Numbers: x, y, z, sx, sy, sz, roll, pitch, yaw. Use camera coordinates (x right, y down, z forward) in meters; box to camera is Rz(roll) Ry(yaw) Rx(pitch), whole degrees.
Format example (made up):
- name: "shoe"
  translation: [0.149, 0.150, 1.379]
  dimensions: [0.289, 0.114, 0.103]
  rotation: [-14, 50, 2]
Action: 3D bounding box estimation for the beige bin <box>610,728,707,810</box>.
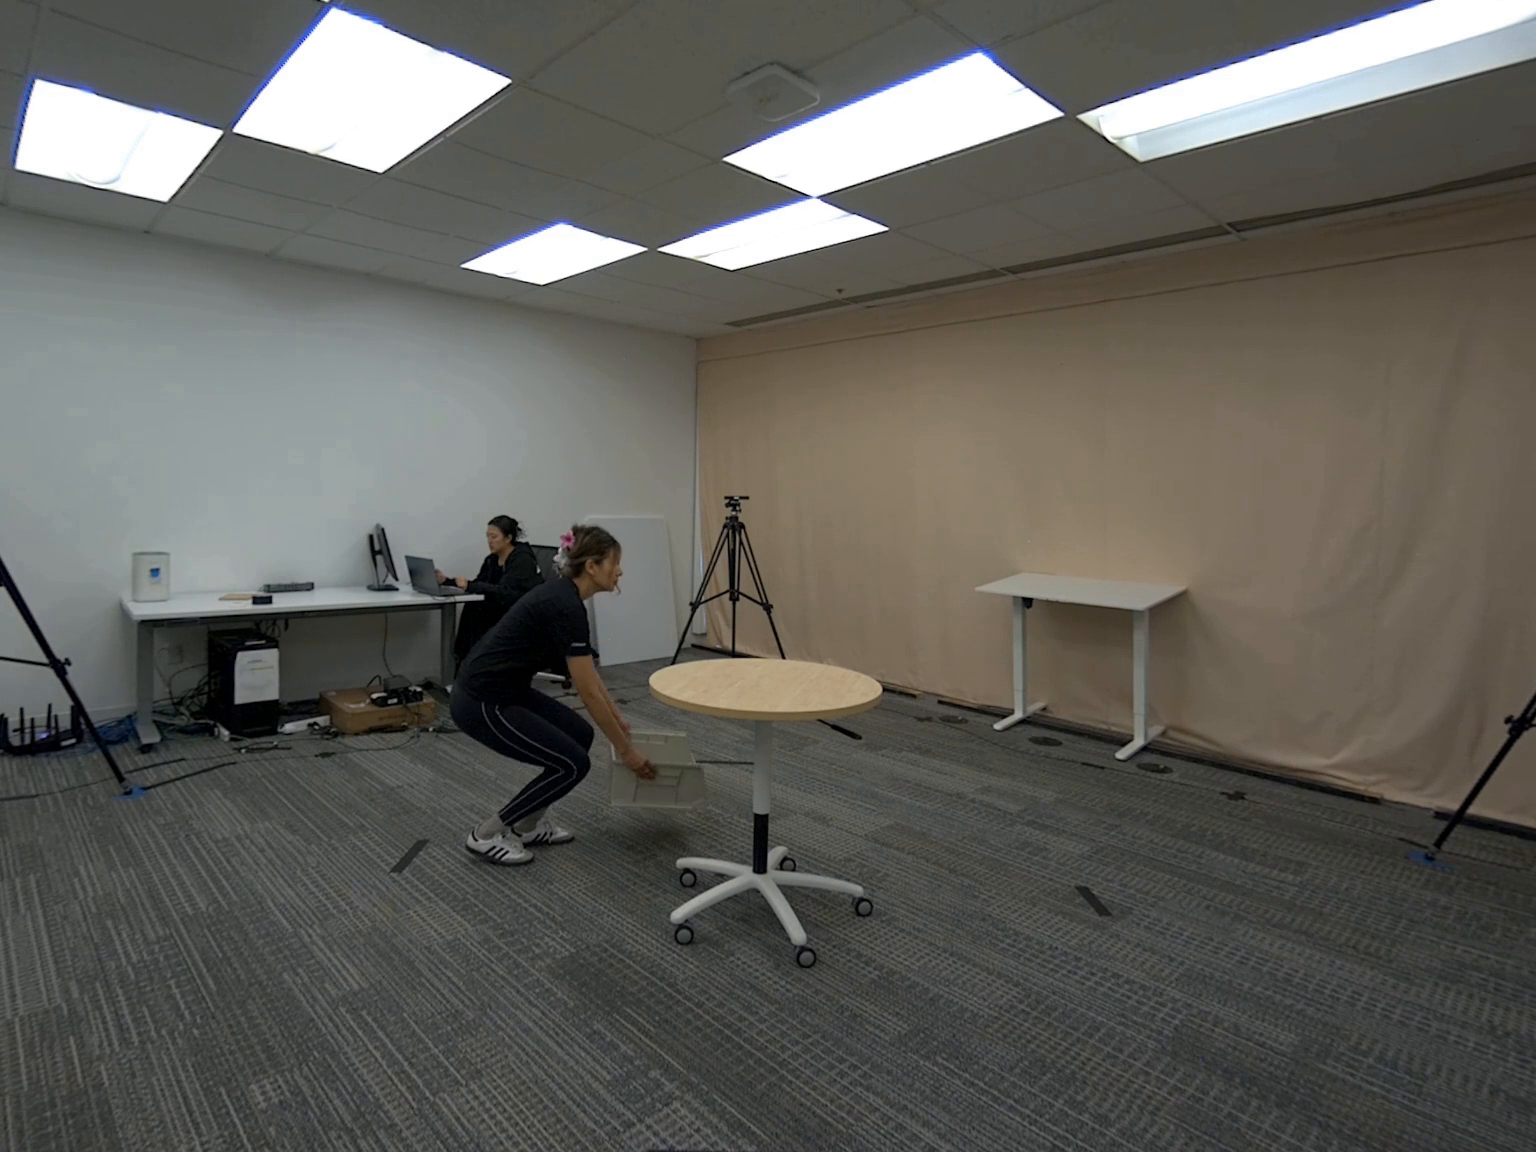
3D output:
- name: "beige bin"
  translation: [-0.468, 0.776, 3.419]
  dimensions: [0.373, 0.188, 0.428]
  rotation: [5, 5, -13]
